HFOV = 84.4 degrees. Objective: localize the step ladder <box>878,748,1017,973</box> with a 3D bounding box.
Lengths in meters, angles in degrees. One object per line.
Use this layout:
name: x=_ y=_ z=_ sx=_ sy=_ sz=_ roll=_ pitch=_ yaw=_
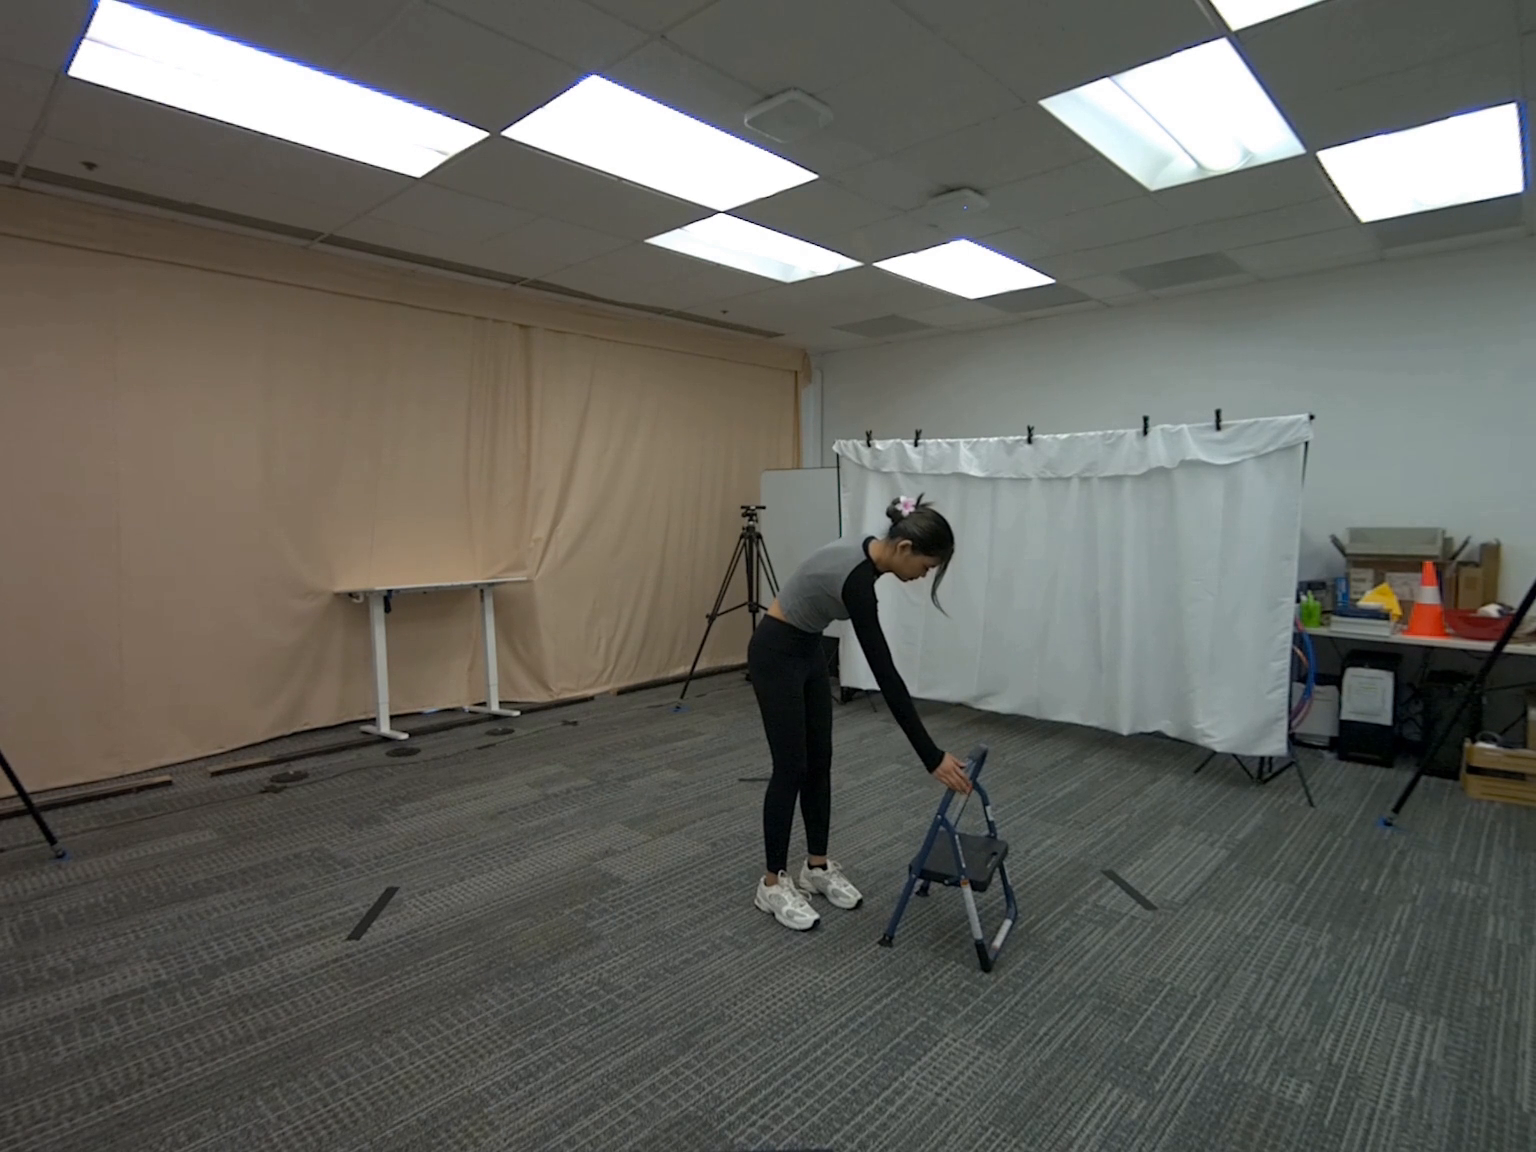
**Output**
step ladder: x=0.605 y=0.858 z=2.742 sx=0.359 sy=0.604 sz=0.420 roll=2 pitch=4 yaw=28
